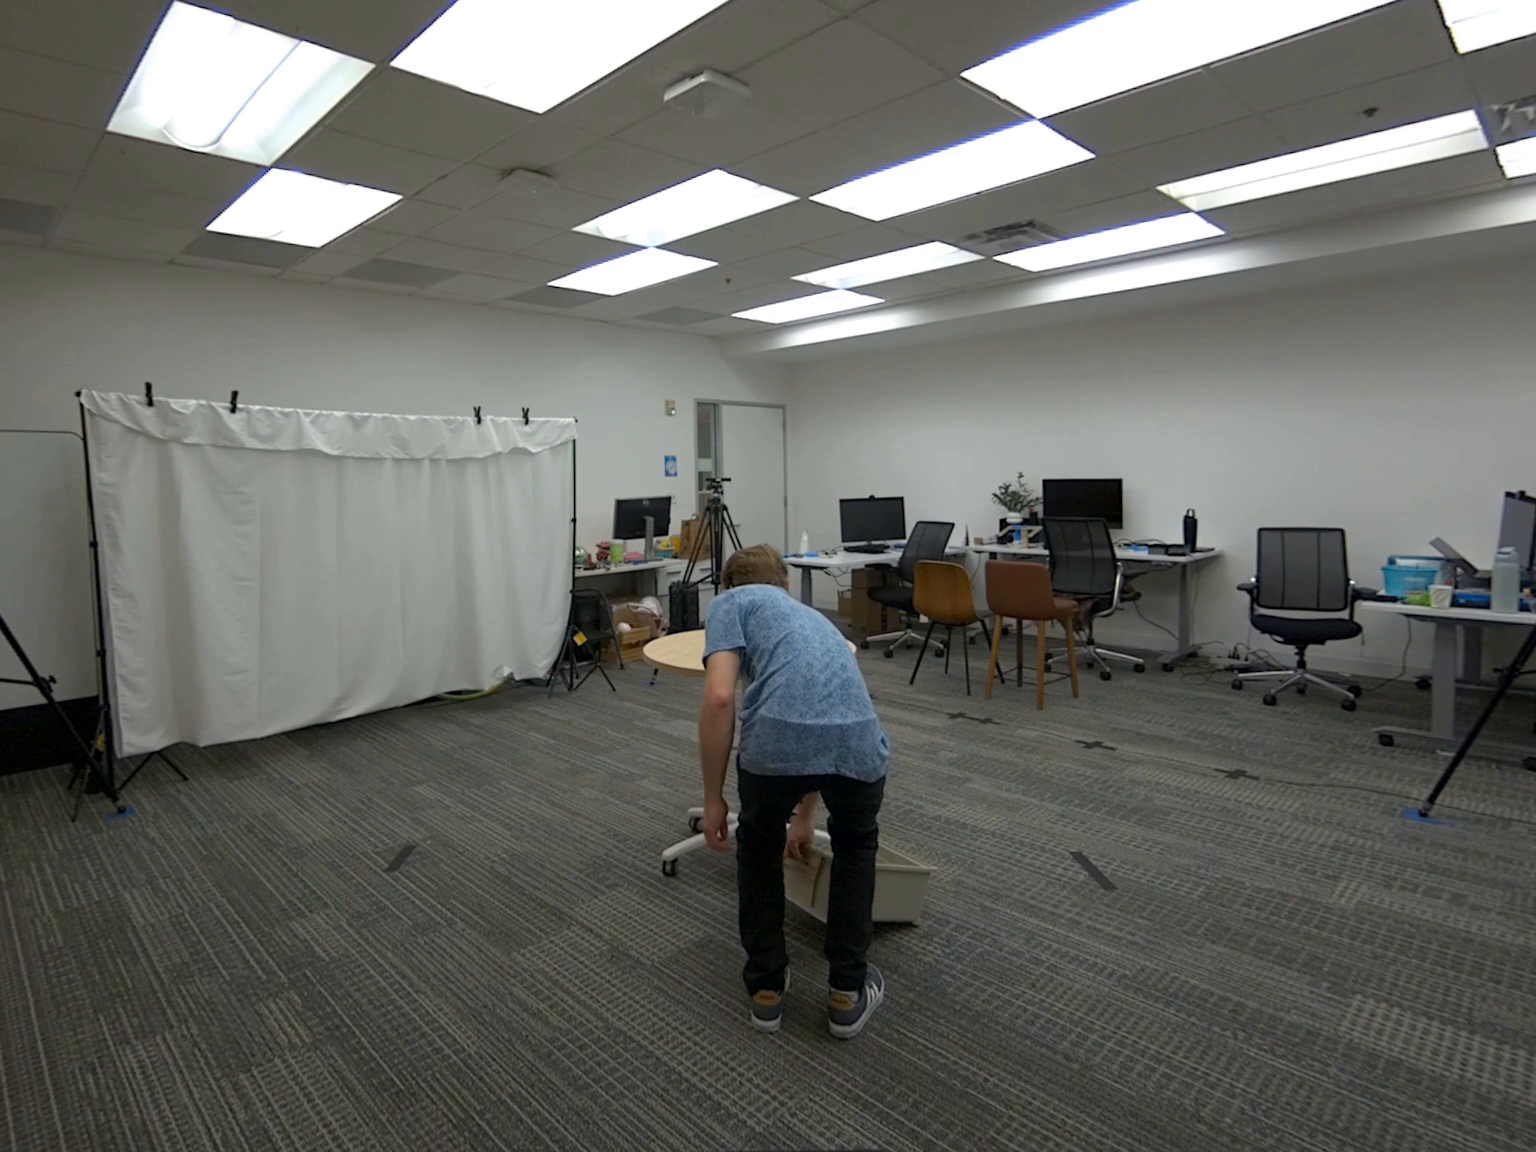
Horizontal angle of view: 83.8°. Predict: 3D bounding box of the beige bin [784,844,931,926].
[{"bbox_3d":[0.243,0.937,2.702,0.408,0.189,0.389,17,-4,-34],"label":"beige bin"}]
